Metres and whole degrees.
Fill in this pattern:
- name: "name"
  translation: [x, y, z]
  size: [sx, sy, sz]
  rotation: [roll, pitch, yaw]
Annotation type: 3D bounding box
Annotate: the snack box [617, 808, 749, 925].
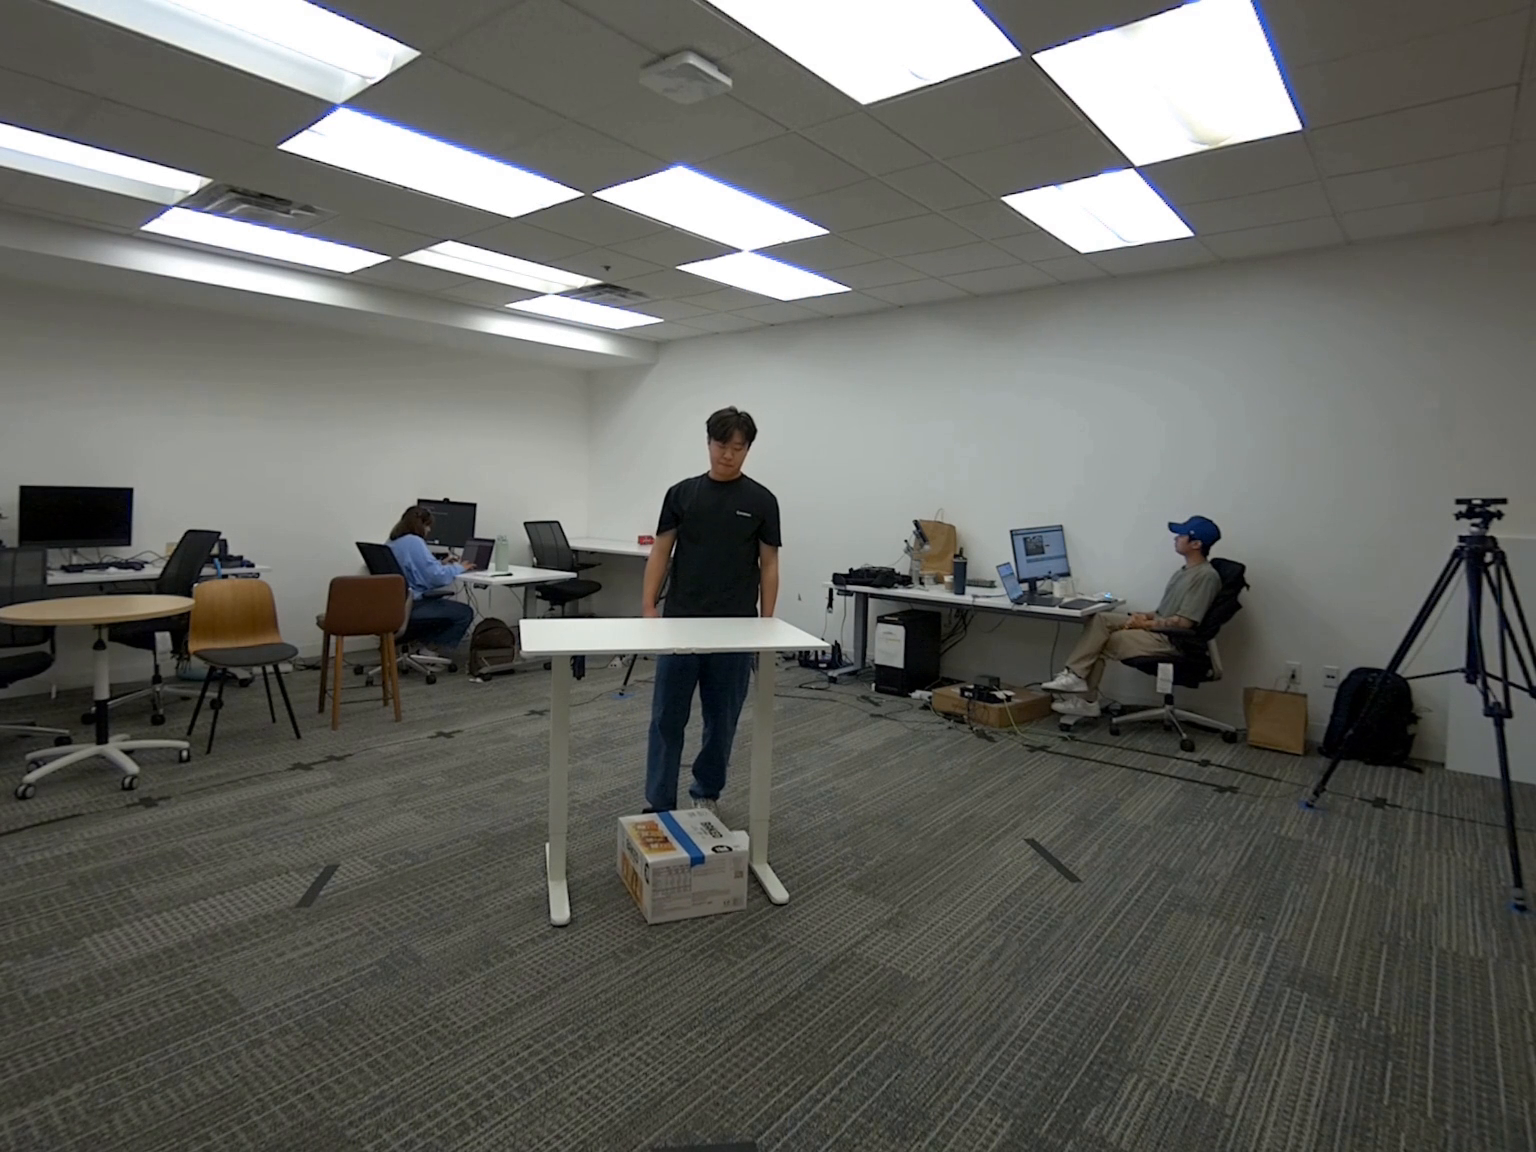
- name: "snack box"
  translation: [-0.313, 0.983, 2.929]
  size: [0.333, 0.205, 0.415]
  rotation: [-1, 5, -23]
